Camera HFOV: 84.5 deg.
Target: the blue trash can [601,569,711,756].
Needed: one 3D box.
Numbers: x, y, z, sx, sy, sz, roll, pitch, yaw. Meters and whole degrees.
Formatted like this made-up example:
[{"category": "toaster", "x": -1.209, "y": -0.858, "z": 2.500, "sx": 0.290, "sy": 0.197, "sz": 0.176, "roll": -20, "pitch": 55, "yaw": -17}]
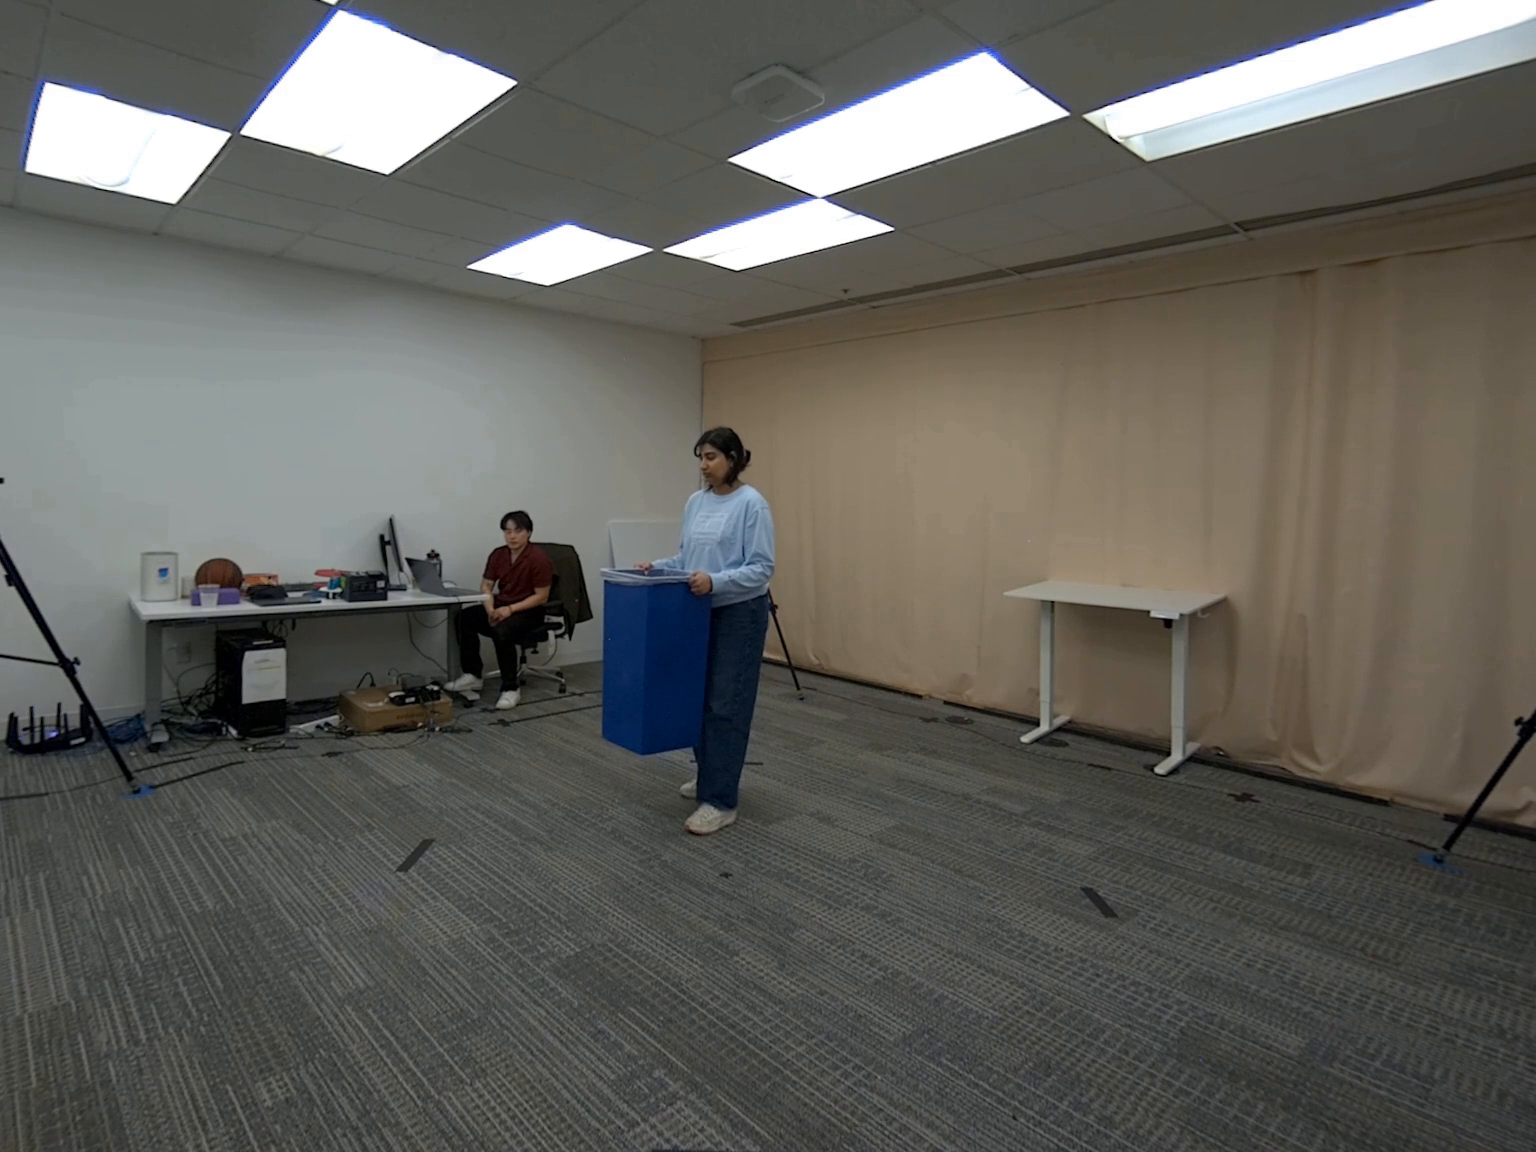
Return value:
[{"category": "blue trash can", "x": -0.485, "y": 0.343, "z": 3.501, "sx": 0.365, "sy": 0.712, "sz": 0.388, "roll": 1, "pitch": 4, "yaw": -43}]
